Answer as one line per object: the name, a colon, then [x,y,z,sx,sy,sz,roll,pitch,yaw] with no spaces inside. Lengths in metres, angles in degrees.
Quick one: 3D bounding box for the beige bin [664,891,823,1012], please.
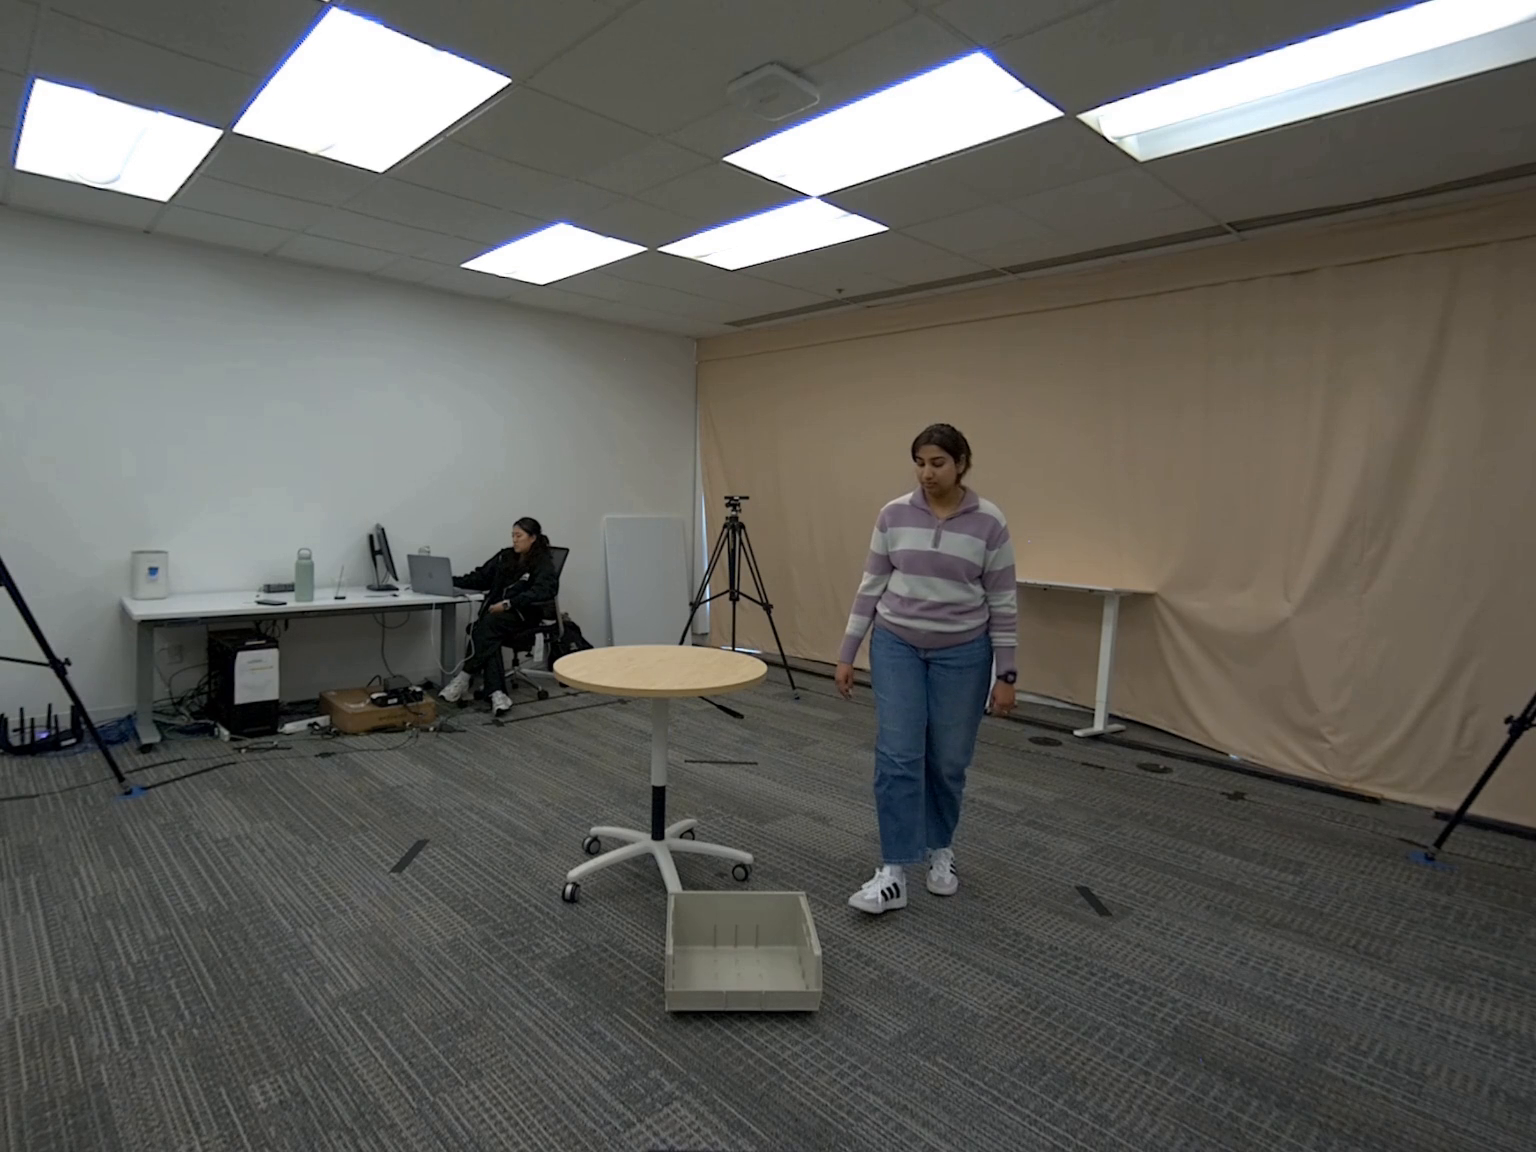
beige bin: [-0.085,1.086,2.401,0.421,0.188,0.379,1,4,-4]
